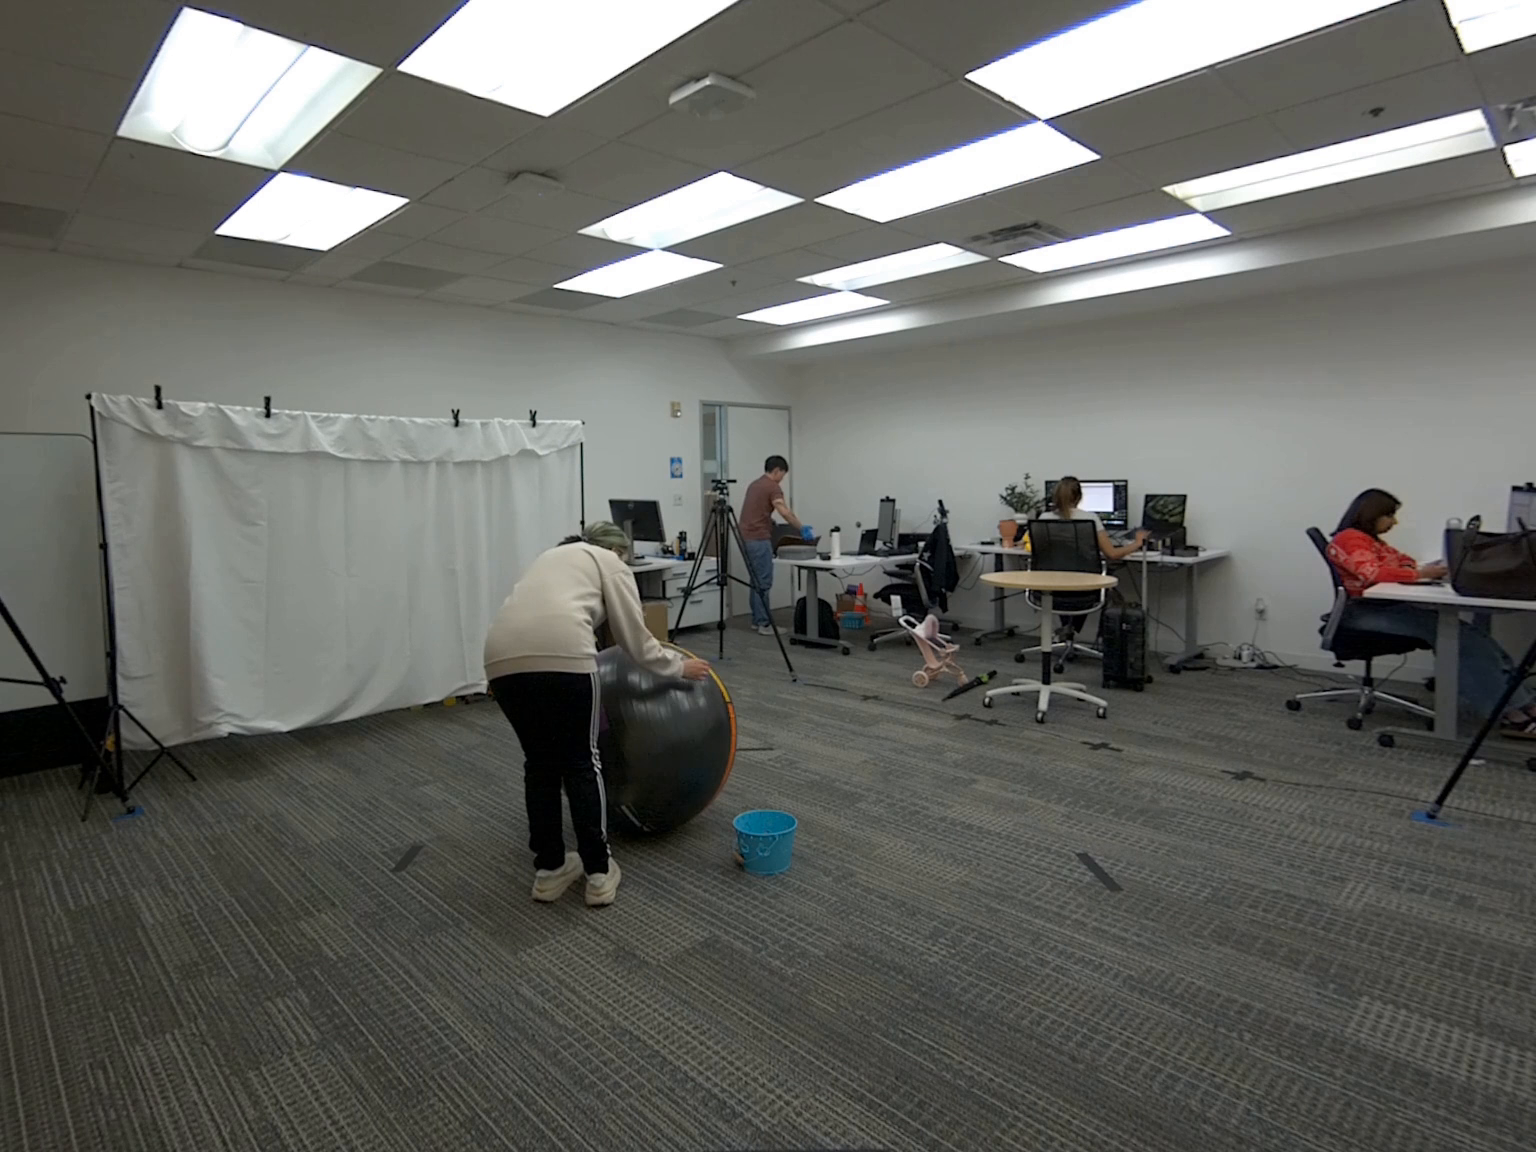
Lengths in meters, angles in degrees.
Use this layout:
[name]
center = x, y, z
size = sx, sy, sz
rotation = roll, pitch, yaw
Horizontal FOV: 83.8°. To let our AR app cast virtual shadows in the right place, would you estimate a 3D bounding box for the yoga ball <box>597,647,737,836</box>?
[yoga ball]
center = -0.500, 0.646, 3.456
size = 0.757, 0.755, 0.762
rotation = -1, 5, -2
